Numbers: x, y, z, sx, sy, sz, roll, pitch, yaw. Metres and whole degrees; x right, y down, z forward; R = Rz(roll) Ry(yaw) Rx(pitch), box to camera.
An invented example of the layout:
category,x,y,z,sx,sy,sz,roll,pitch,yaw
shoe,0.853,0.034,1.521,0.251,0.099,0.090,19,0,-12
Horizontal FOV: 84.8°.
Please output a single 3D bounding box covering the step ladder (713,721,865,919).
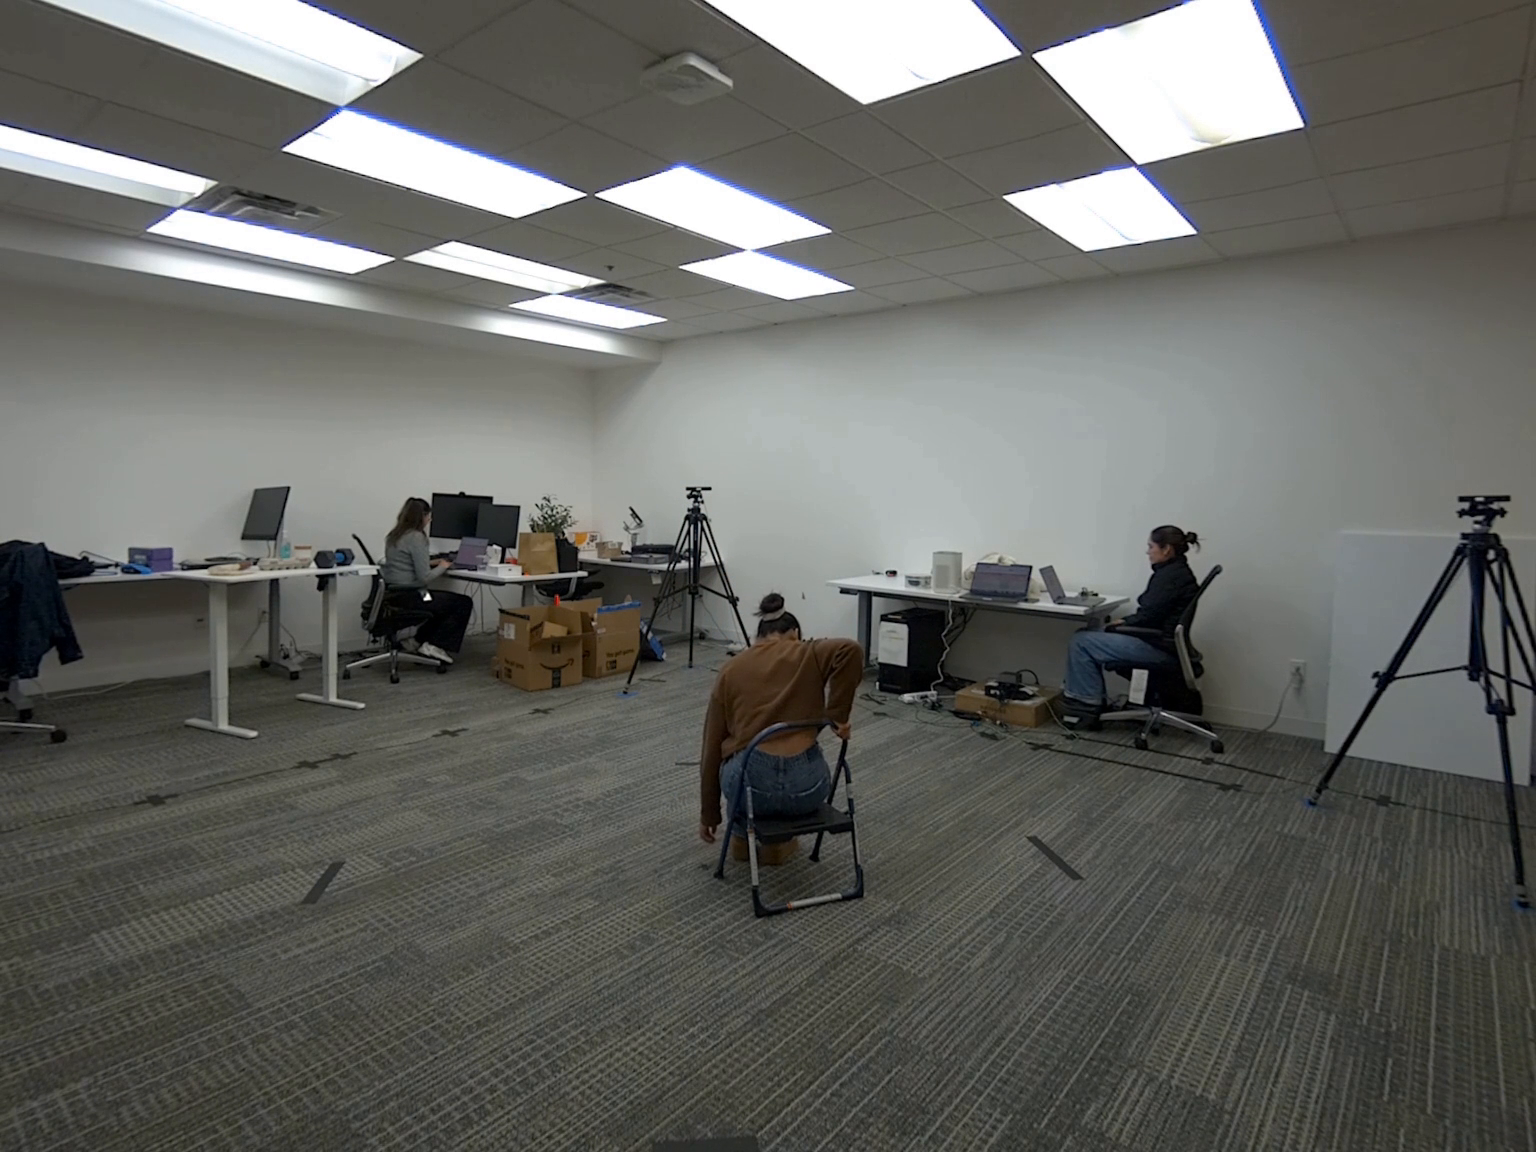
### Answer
category,x,y,z,sx,sy,sz,roll,pitch,yaw
step ladder,0.068,0.786,2.969,0.420,0.605,0.359,0,3,-26
